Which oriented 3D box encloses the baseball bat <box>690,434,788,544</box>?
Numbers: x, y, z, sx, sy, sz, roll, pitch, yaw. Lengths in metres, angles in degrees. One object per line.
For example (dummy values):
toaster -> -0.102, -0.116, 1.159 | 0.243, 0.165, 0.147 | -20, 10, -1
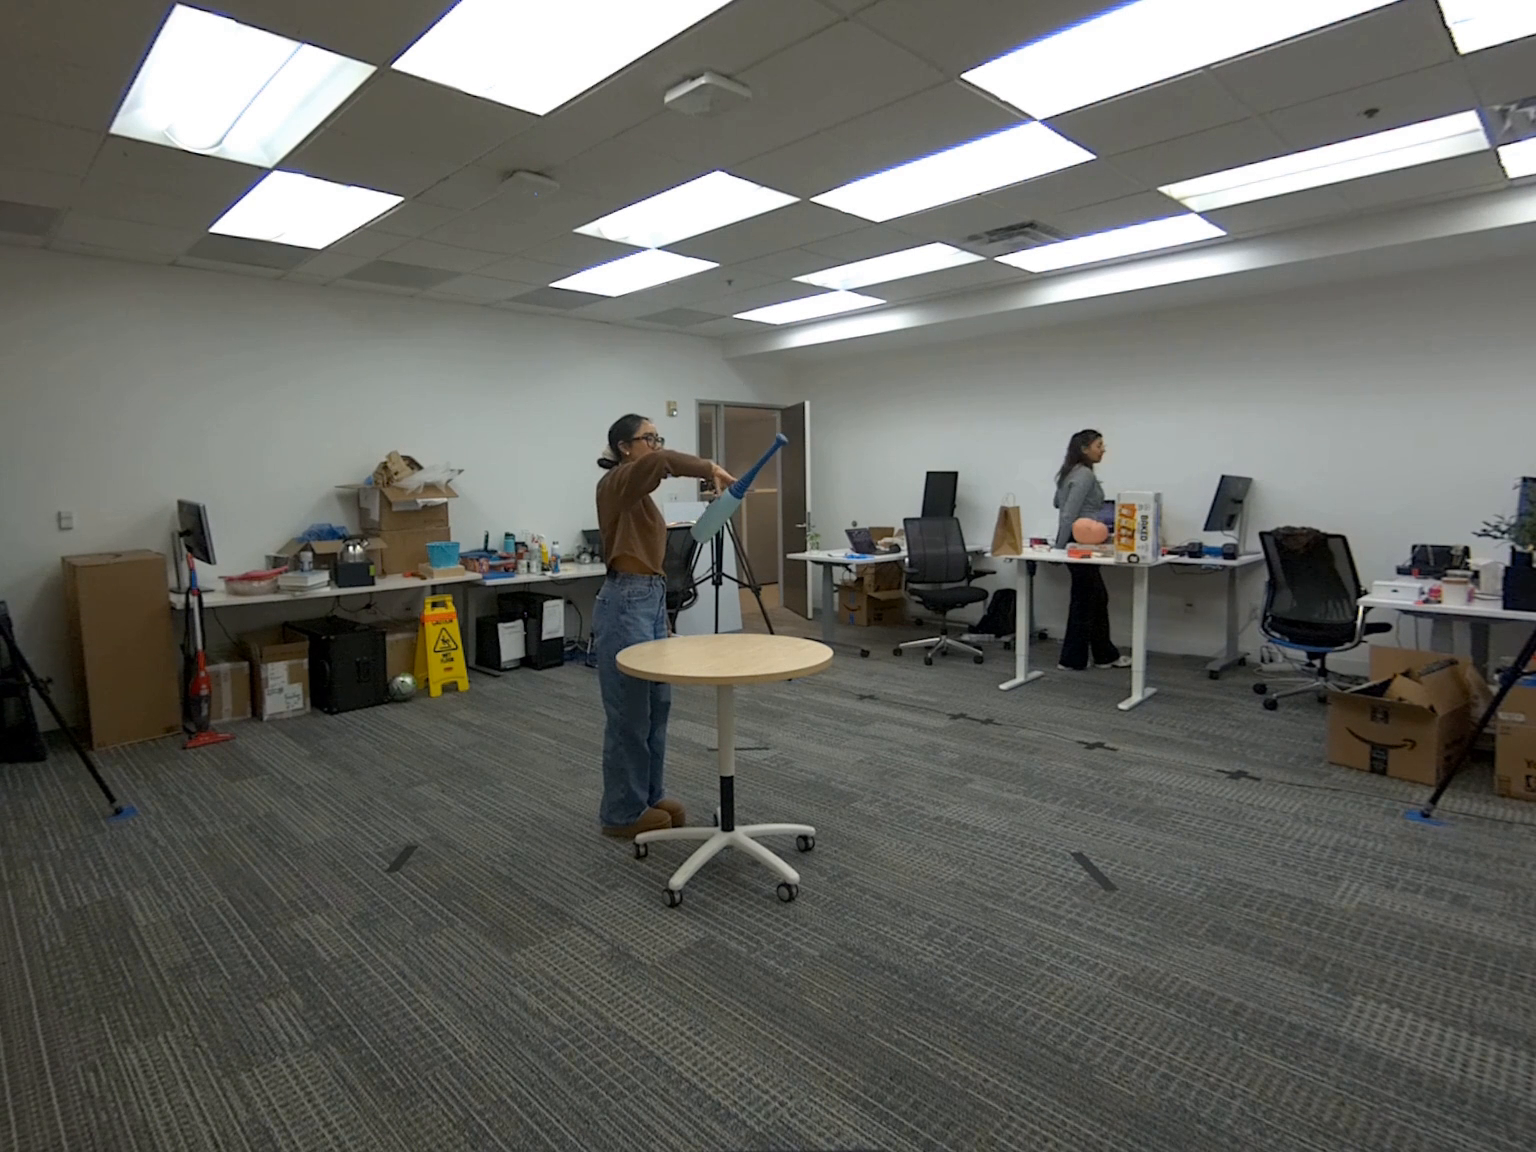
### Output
baseball bat -> -0.113, -0.320, 3.175 | 0.543, 0.091, 0.087 | -47, -21, 28
